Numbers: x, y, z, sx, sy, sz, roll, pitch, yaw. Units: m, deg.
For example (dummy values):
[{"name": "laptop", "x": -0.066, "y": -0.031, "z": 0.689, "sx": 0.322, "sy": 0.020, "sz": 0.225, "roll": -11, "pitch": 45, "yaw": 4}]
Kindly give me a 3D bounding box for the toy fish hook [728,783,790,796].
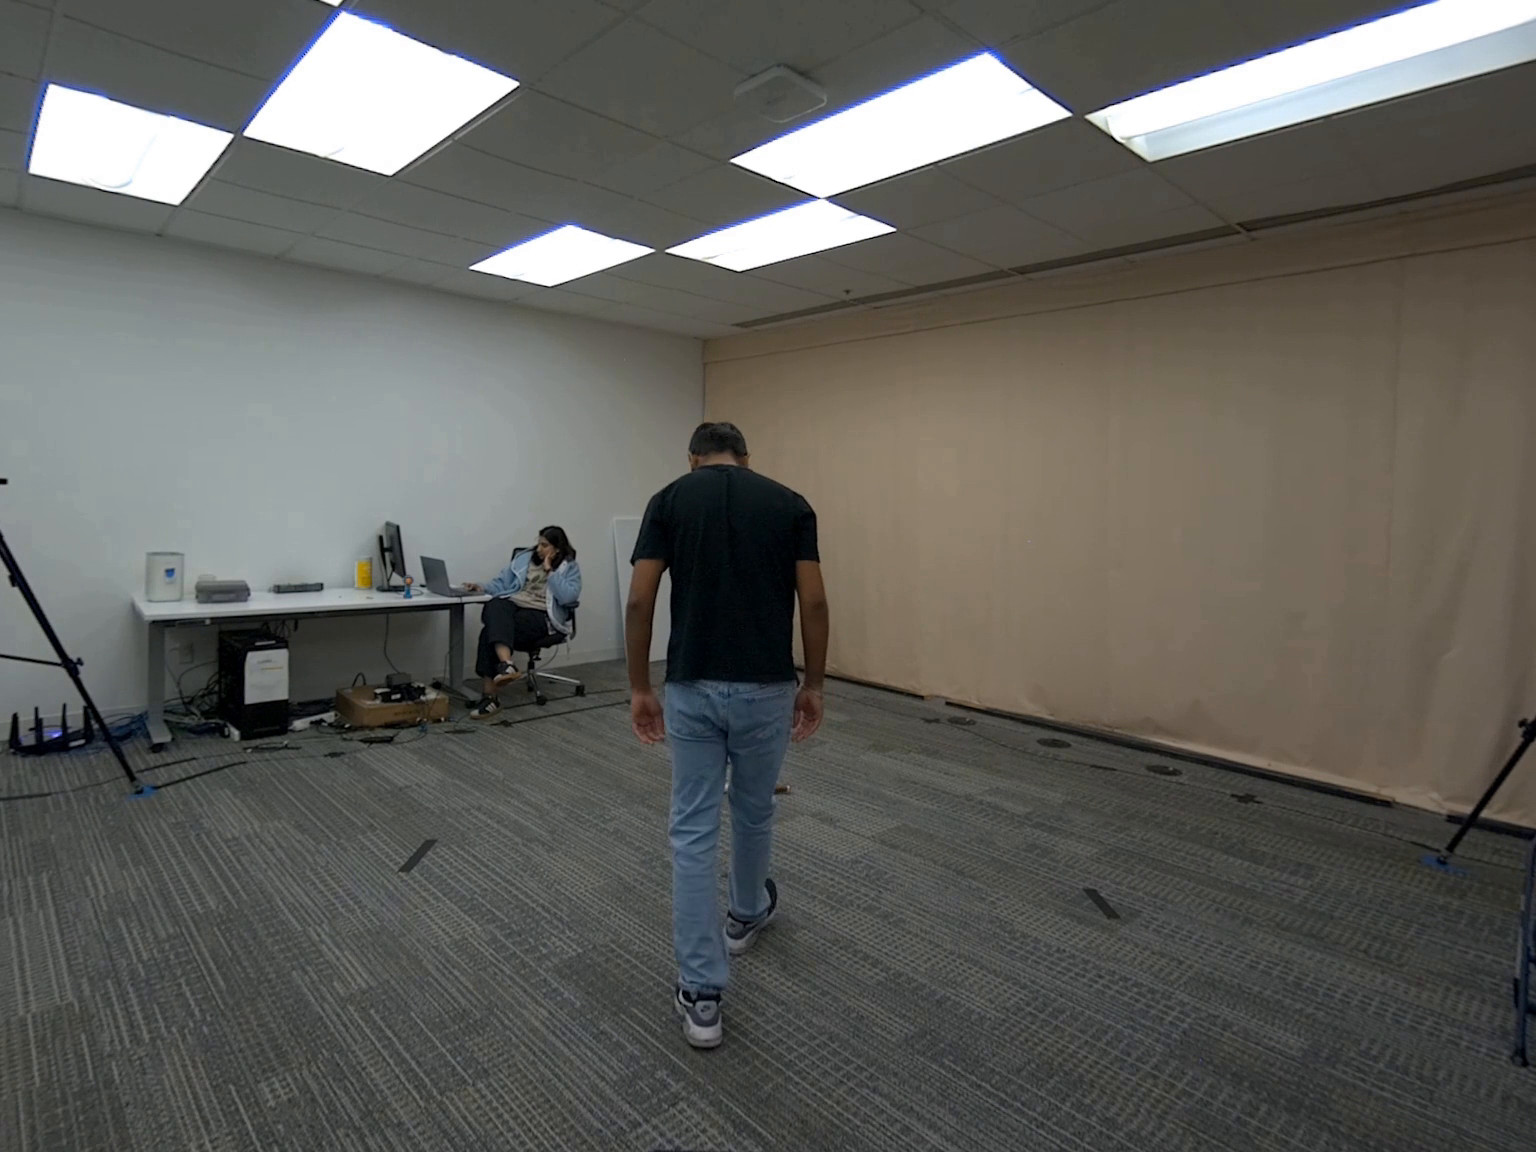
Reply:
[{"name": "toy fish hook", "x": -0.153, "y": 1.004, "z": 4.068, "sx": 0.507, "sy": 0.048, "sz": 0.225, "roll": 2, "pitch": 5, "yaw": 2}]
